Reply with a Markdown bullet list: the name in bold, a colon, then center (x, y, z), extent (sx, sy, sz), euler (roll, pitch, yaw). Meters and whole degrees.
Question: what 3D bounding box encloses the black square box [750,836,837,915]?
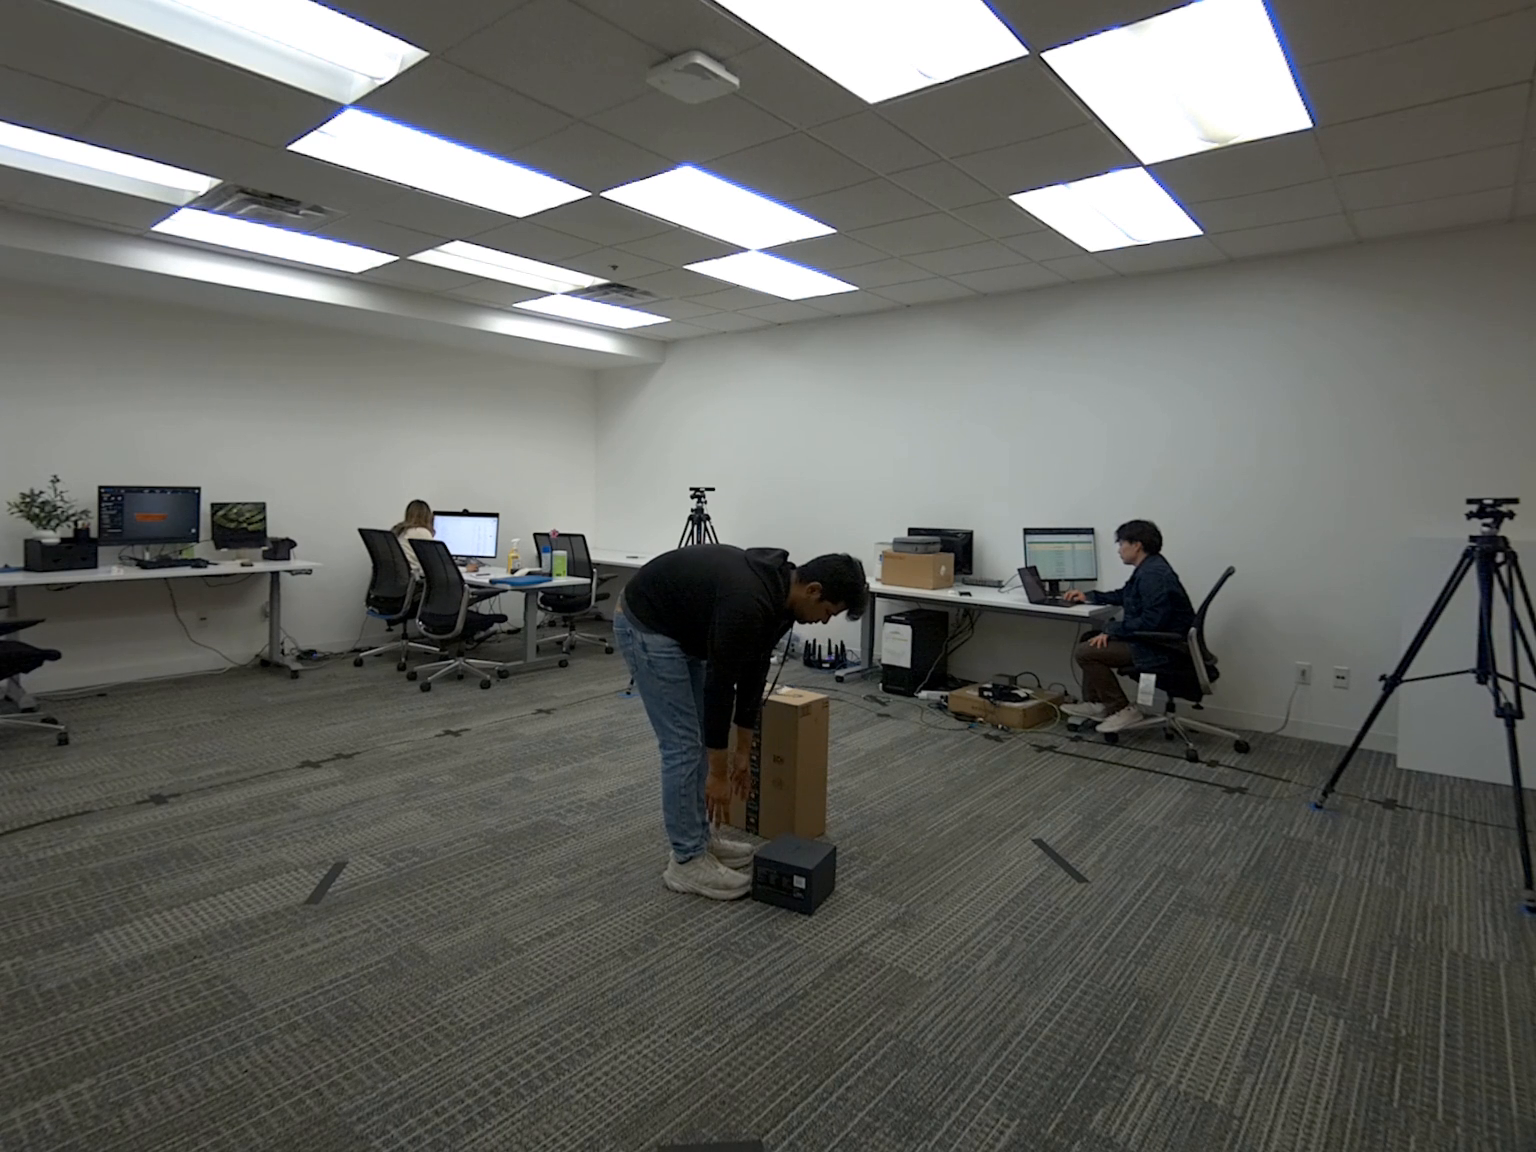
- **black square box**: center (0.085, 1.006, 2.915), extent (0.223, 0.155, 0.223), euler (3, 5, 25)
